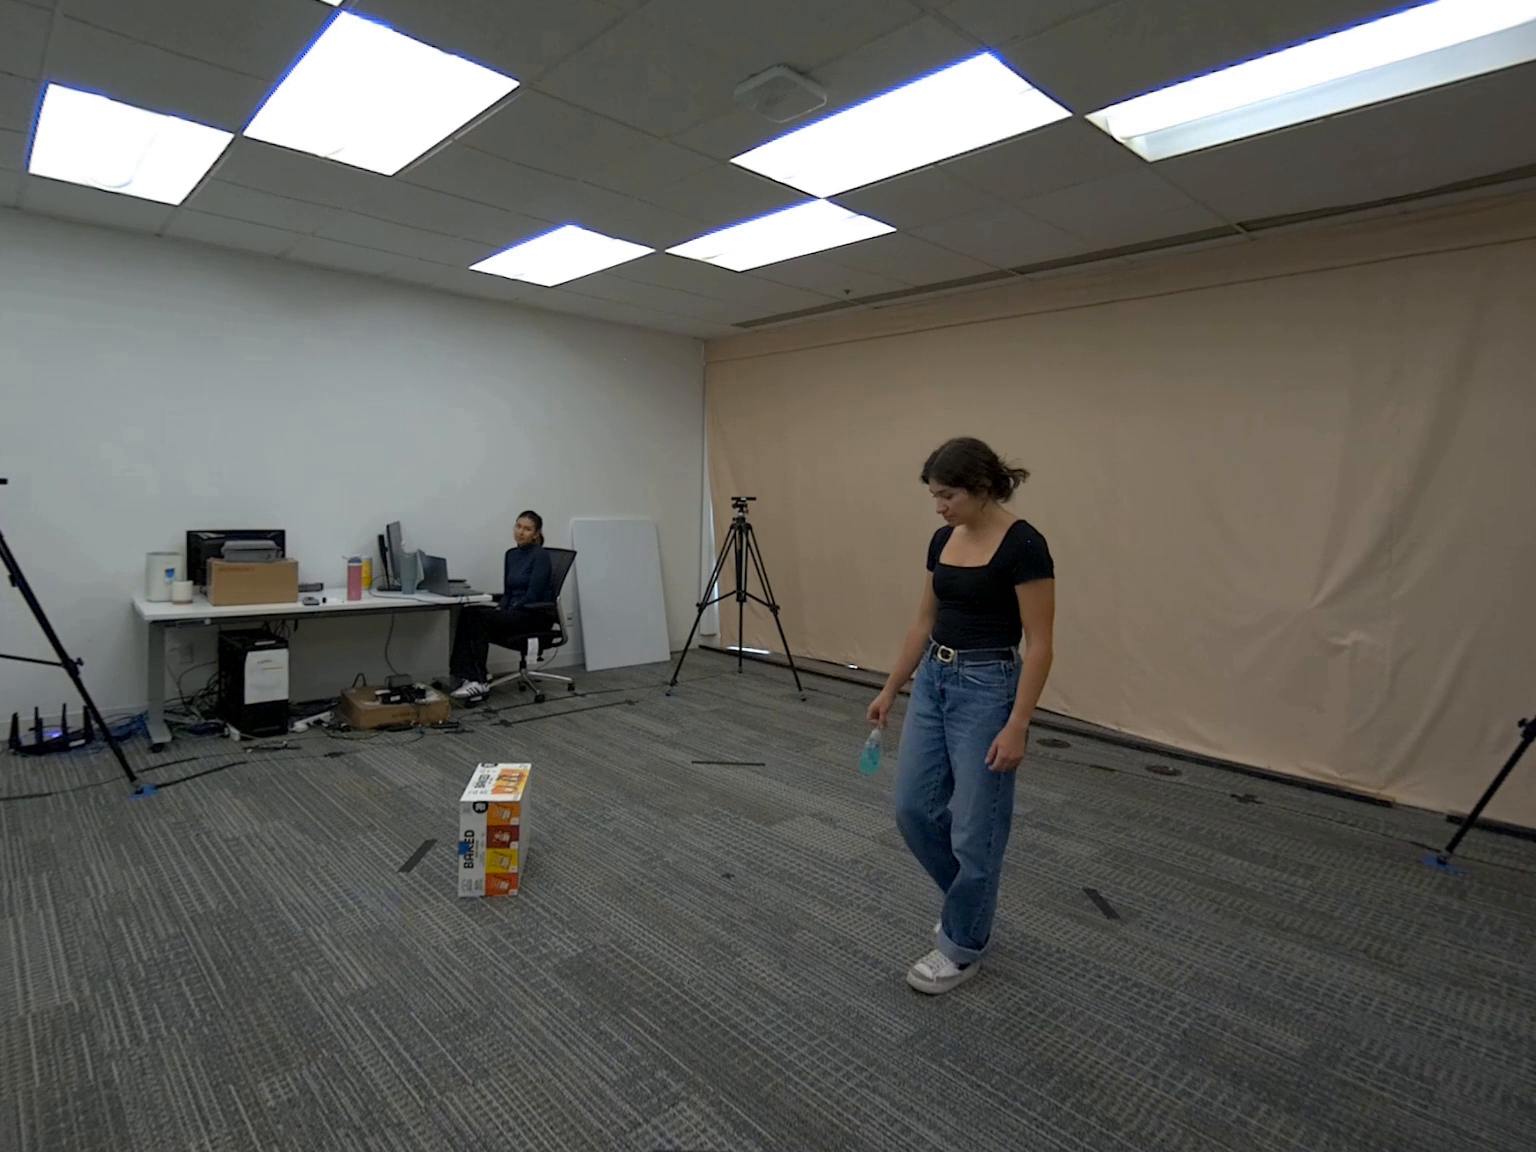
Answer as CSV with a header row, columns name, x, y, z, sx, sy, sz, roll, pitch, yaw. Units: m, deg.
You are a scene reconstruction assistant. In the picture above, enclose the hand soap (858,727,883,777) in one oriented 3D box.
name,x,y,z,sx,sy,sz,roll,pitch,yaw
hand soap,0.334,0.539,2.620,0.082,0.168,0.044,12,4,-44
